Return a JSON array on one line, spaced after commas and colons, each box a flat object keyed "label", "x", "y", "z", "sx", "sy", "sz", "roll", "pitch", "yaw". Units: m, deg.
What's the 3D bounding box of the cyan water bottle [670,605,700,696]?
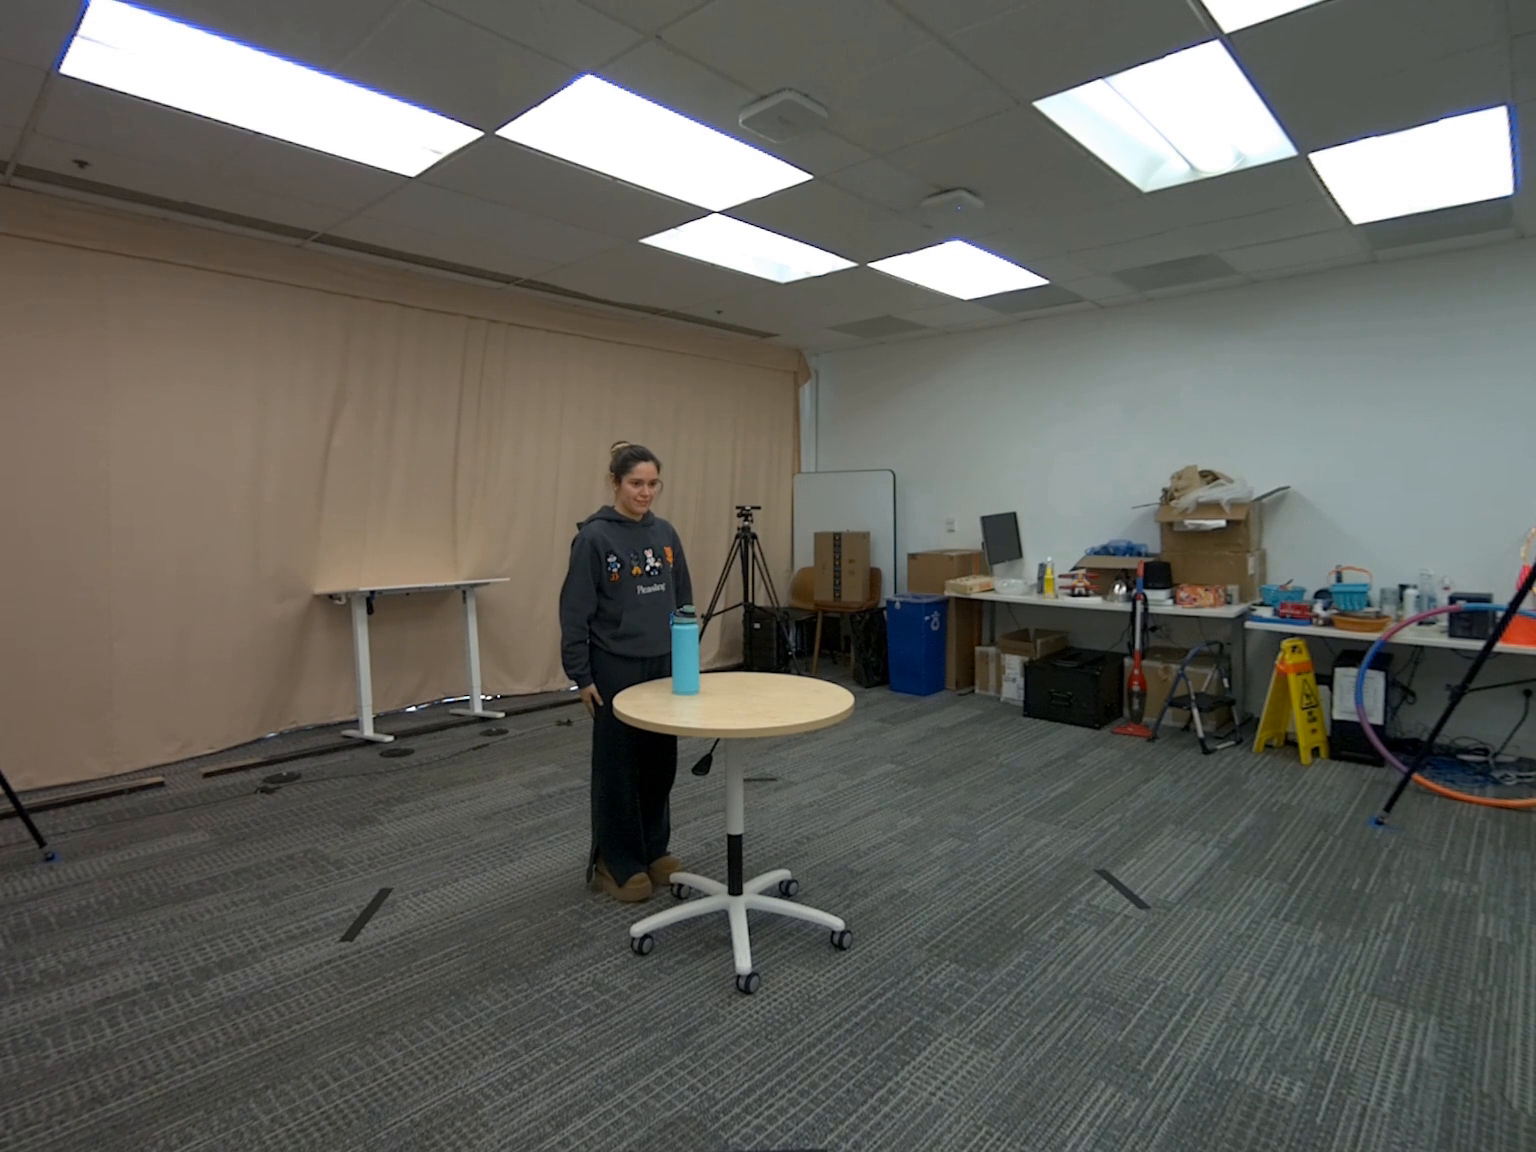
[{"label": "cyan water bottle", "x": -0.259, "y": 0.245, "z": 2.758, "sx": 0.092, "sy": 0.283, "sz": 0.092, "roll": -5, "pitch": 3, "yaw": -2}]
